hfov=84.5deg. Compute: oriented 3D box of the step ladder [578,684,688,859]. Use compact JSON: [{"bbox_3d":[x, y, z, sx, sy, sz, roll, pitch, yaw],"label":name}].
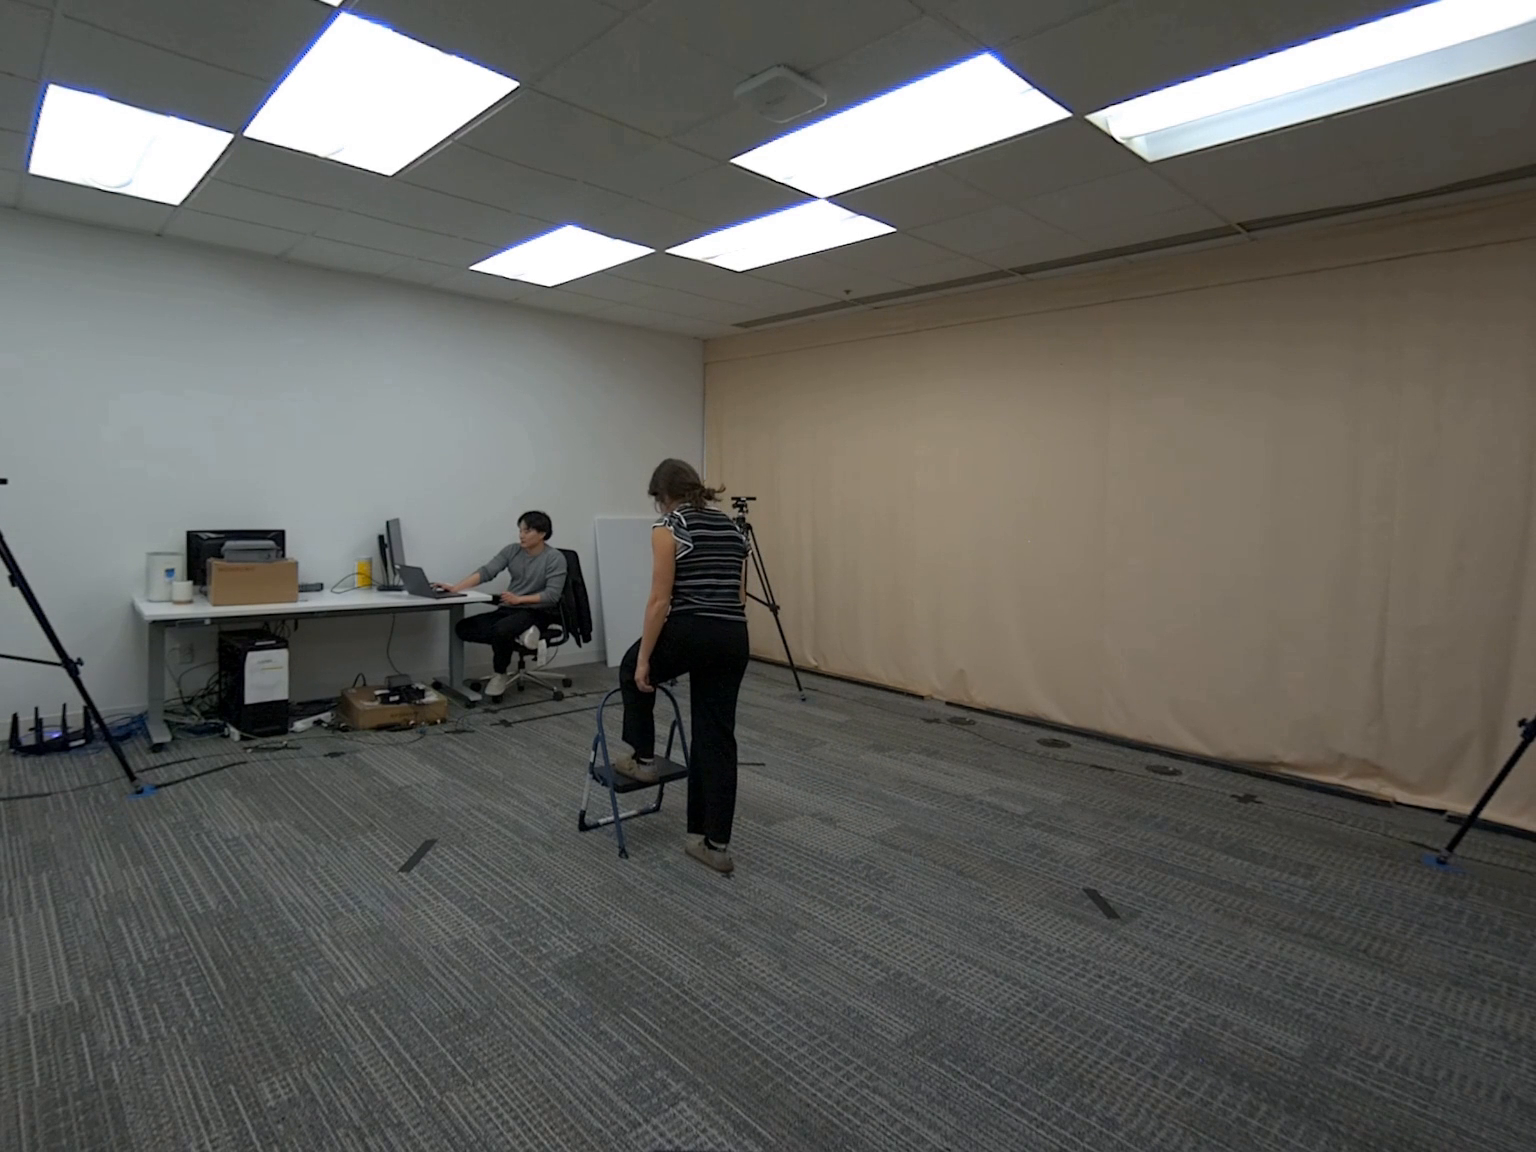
[{"bbox_3d":[-0.525,0.762,3.488,0.421,0.605,0.358,-2,5,-44],"label":"step ladder"}]
